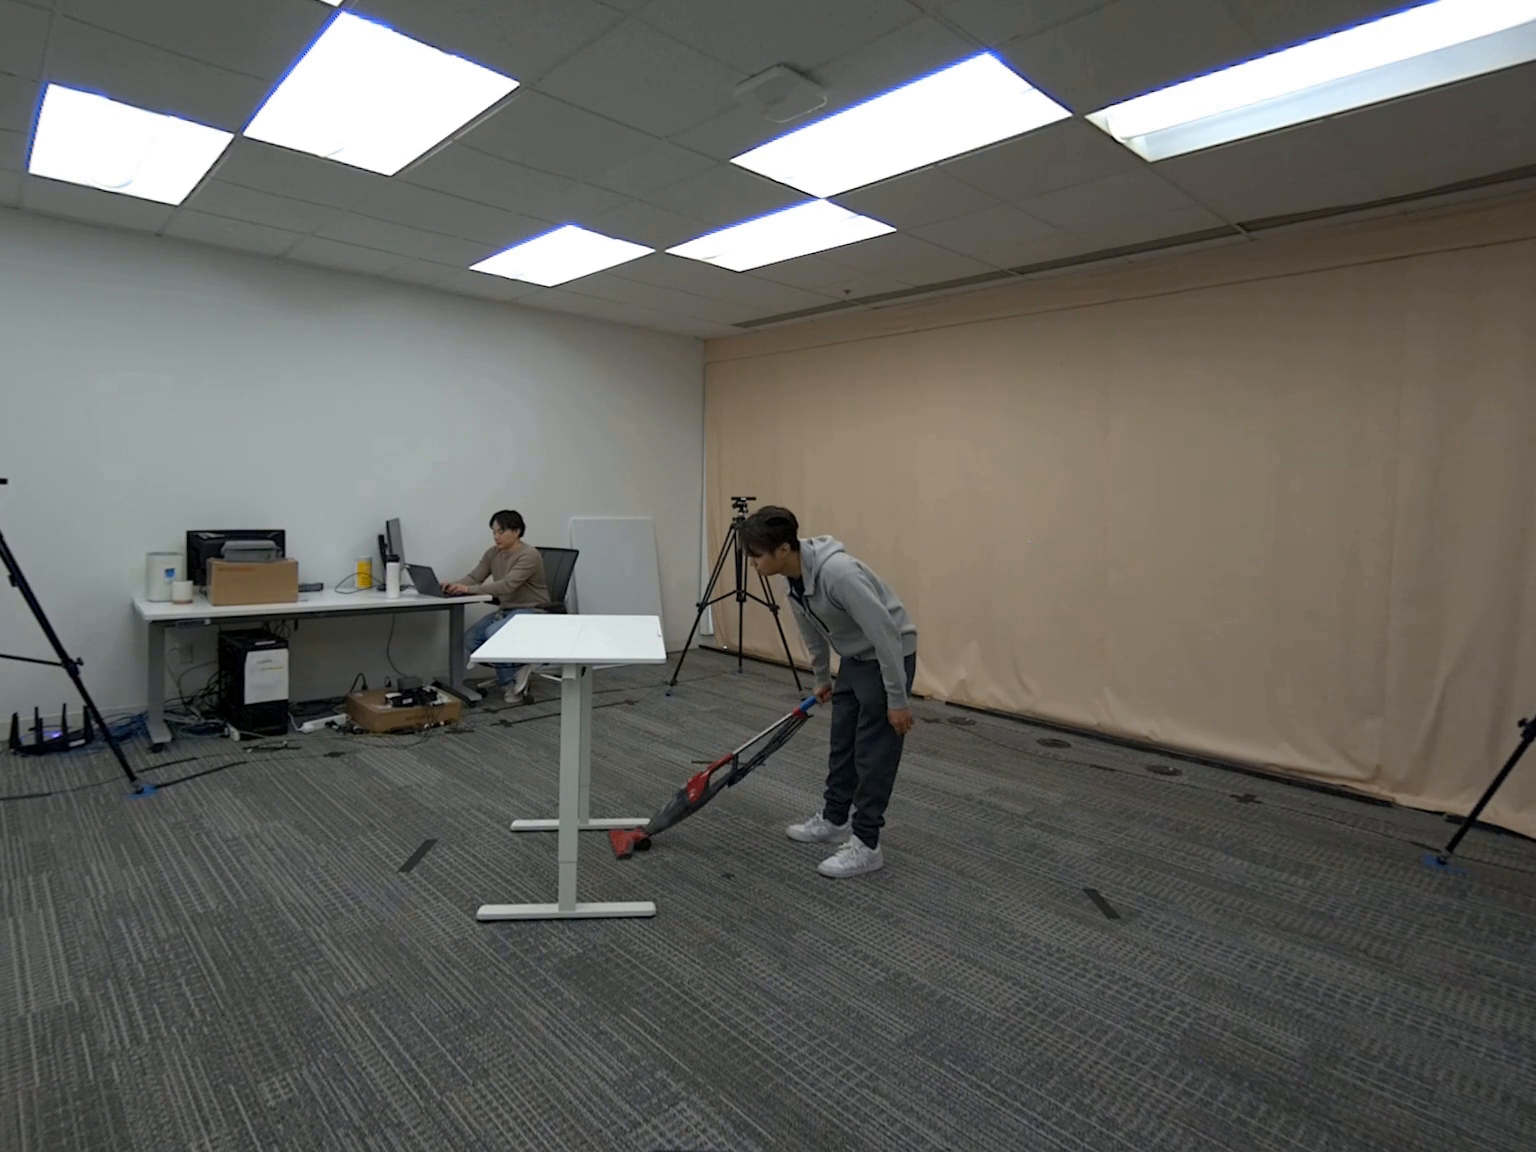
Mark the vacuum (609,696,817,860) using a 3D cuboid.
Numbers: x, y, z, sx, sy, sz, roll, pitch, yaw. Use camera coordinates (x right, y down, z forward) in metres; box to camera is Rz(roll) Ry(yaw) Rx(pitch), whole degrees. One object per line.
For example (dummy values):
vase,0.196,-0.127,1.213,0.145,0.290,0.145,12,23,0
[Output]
vacuum,-0.134,0.768,3.453,1.046,0.142,0.256,-34,14,-12
